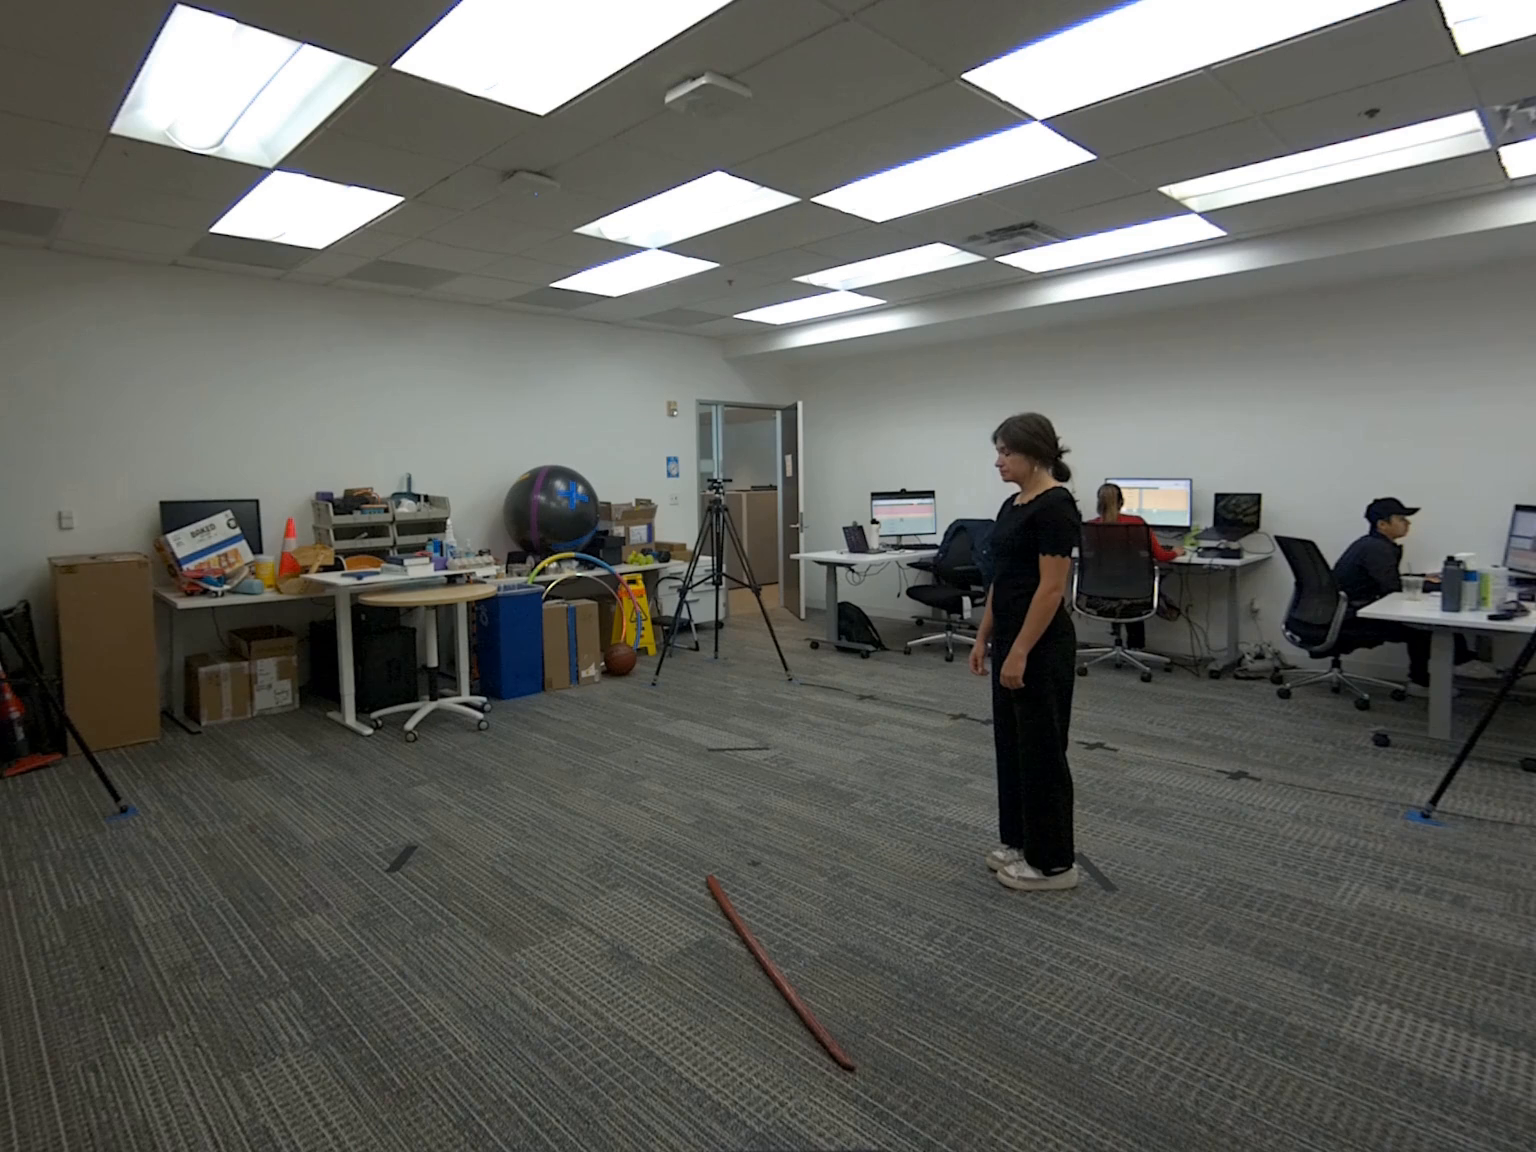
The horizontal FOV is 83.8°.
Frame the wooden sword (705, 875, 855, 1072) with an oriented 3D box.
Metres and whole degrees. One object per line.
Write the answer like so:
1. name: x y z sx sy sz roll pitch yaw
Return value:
1. wooden sword: -0.012 1.102 2.484 0.023 0.051 1.049 38 -8 -21
